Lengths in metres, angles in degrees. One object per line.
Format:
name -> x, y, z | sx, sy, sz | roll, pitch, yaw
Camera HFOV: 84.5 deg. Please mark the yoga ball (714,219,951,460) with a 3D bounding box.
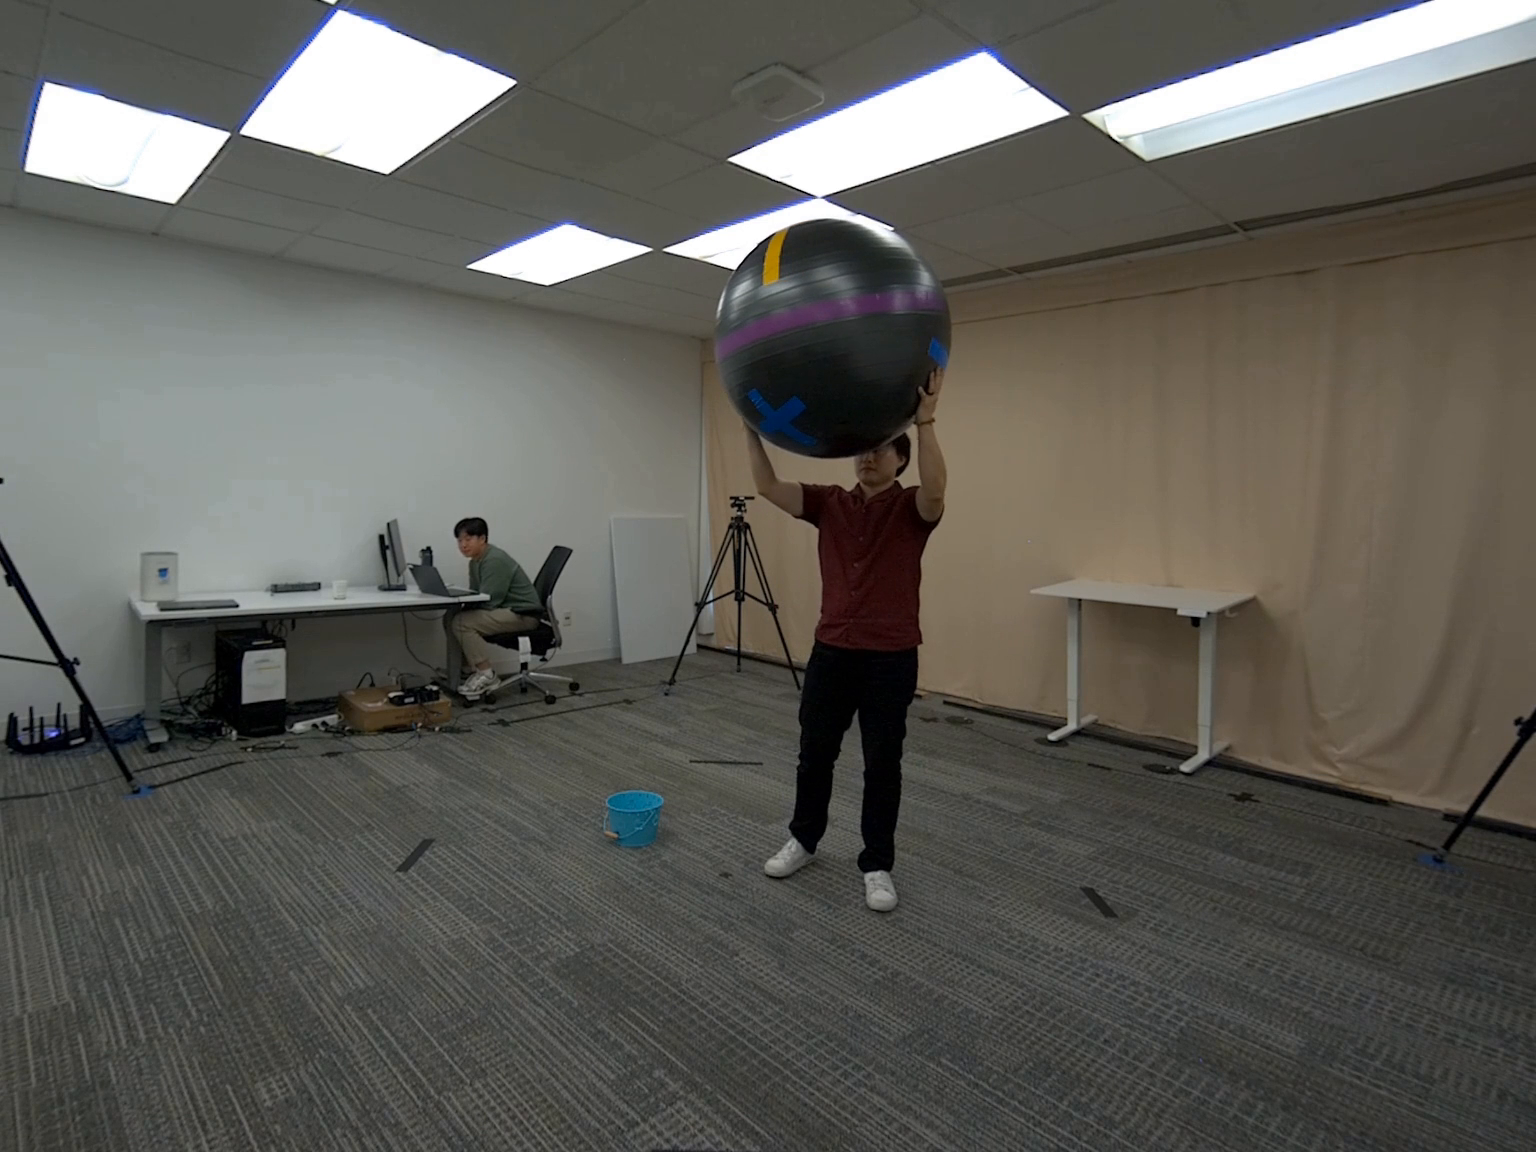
yoga ball -> 0.203, -0.758, 2.718 | 0.757, 0.756, 0.761 | 1, 4, -1
